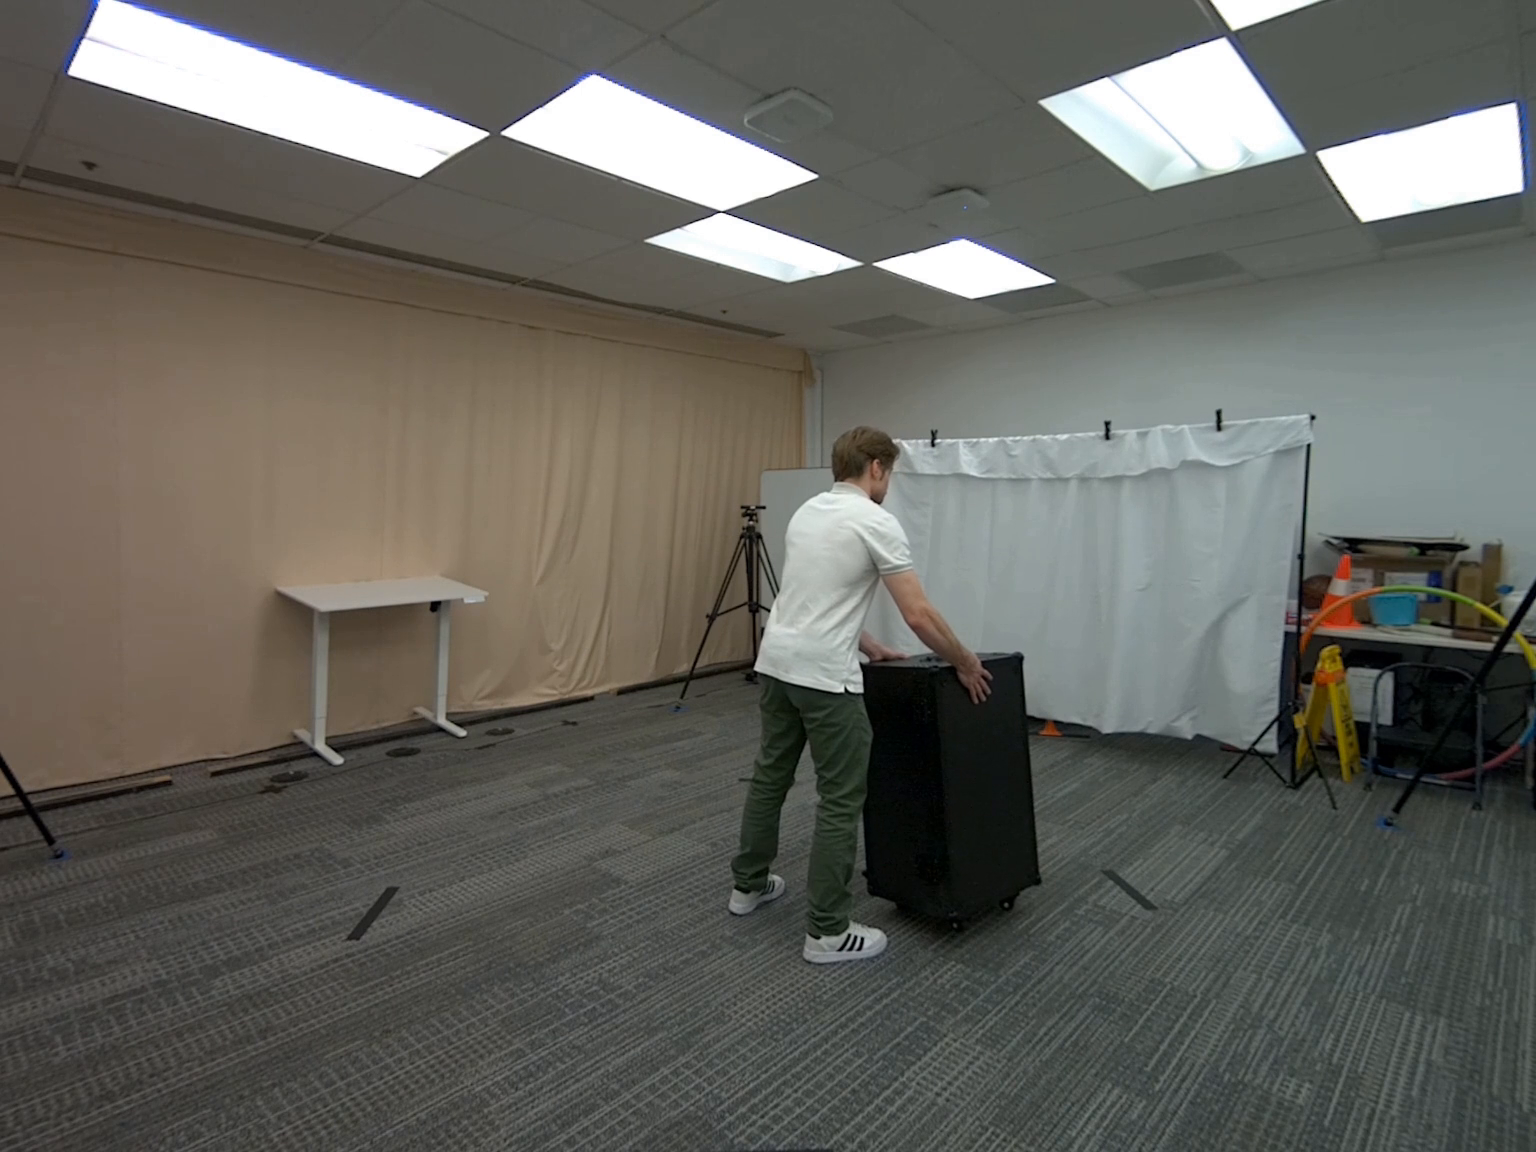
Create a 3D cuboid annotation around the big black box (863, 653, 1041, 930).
[{"bbox_3d":[0.616,0.719,2.893,0.507,0.870,0.396,-2,-3,-39],"label":"big black box"}]
